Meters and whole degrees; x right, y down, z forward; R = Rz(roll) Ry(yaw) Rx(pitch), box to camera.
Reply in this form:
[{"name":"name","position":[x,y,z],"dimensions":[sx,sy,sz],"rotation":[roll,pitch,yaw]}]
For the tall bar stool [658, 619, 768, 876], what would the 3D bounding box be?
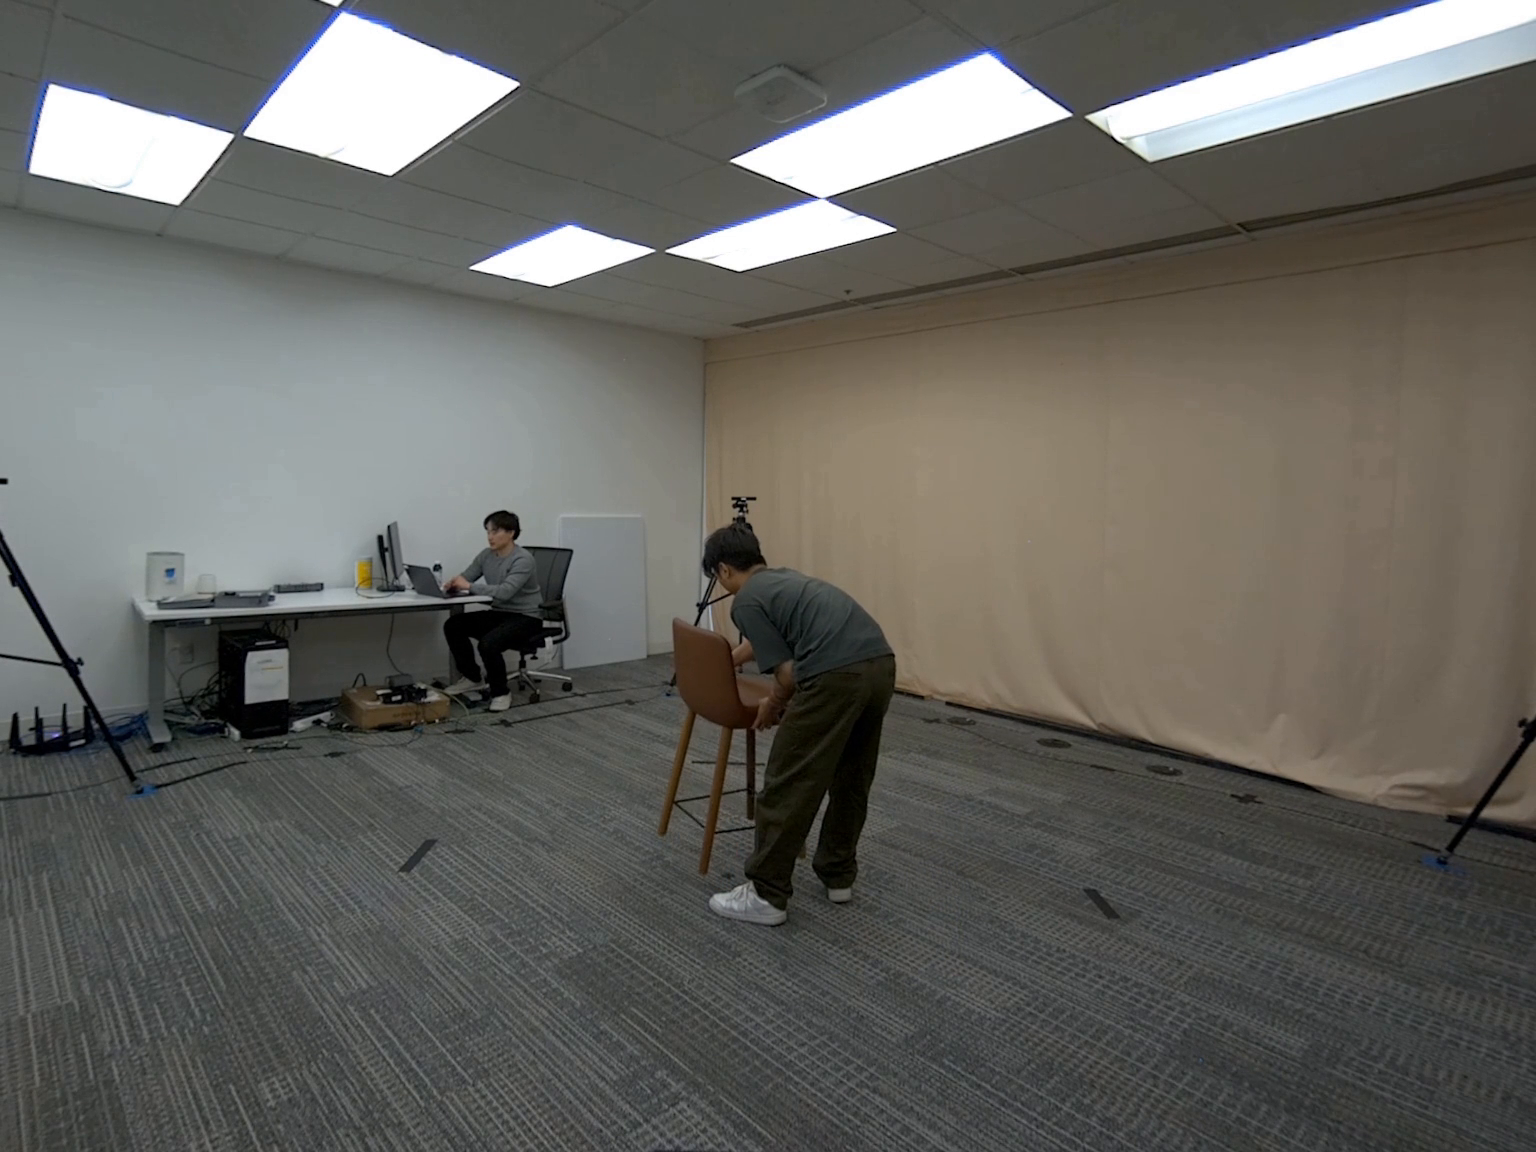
[{"name":"tall bar stool","position":[-0.126,0.620,3.238],"dimensions":[0.458,0.886,0.468],"rotation":[-1,6,-31]}]
